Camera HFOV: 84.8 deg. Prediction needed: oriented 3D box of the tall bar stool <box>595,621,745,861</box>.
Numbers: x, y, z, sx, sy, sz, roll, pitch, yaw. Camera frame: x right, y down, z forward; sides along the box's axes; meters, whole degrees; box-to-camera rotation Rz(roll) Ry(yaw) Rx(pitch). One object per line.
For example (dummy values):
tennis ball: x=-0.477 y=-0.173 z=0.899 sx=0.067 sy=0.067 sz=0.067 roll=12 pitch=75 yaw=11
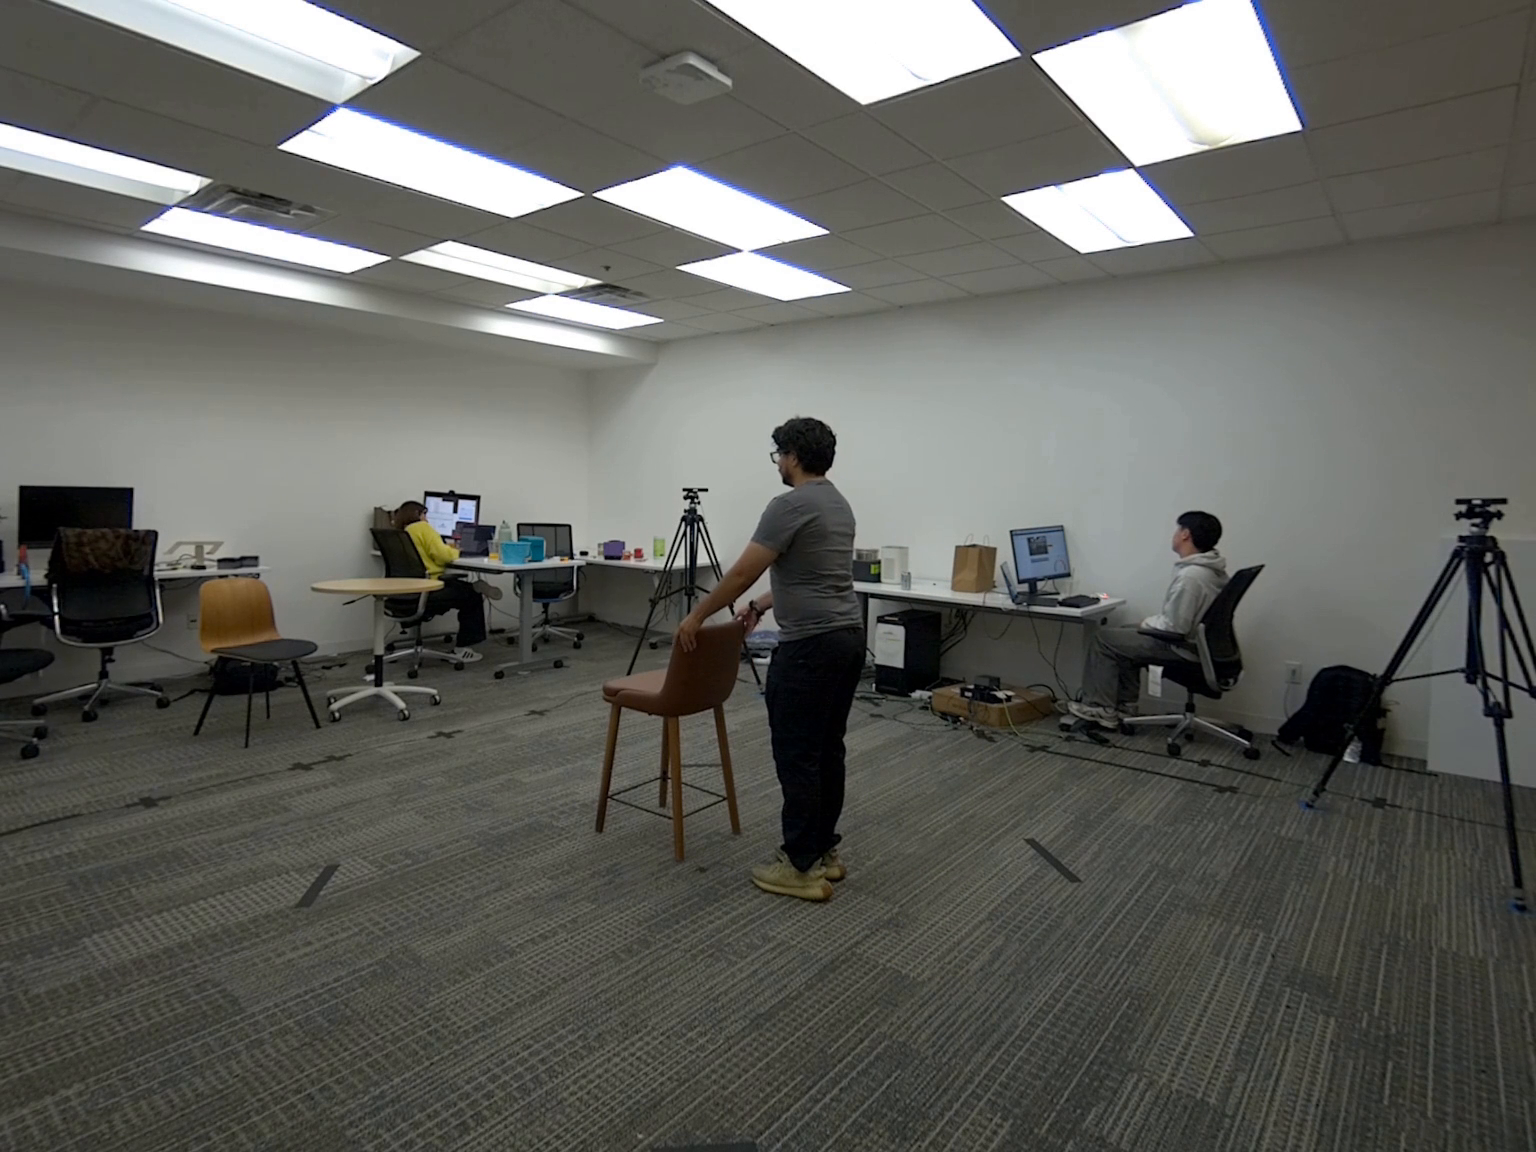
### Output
tall bar stool: x=-0.393 y=0.598 z=3.424 sx=0.483 sy=0.886 sz=0.443 roll=6 pitch=5 yaw=37
